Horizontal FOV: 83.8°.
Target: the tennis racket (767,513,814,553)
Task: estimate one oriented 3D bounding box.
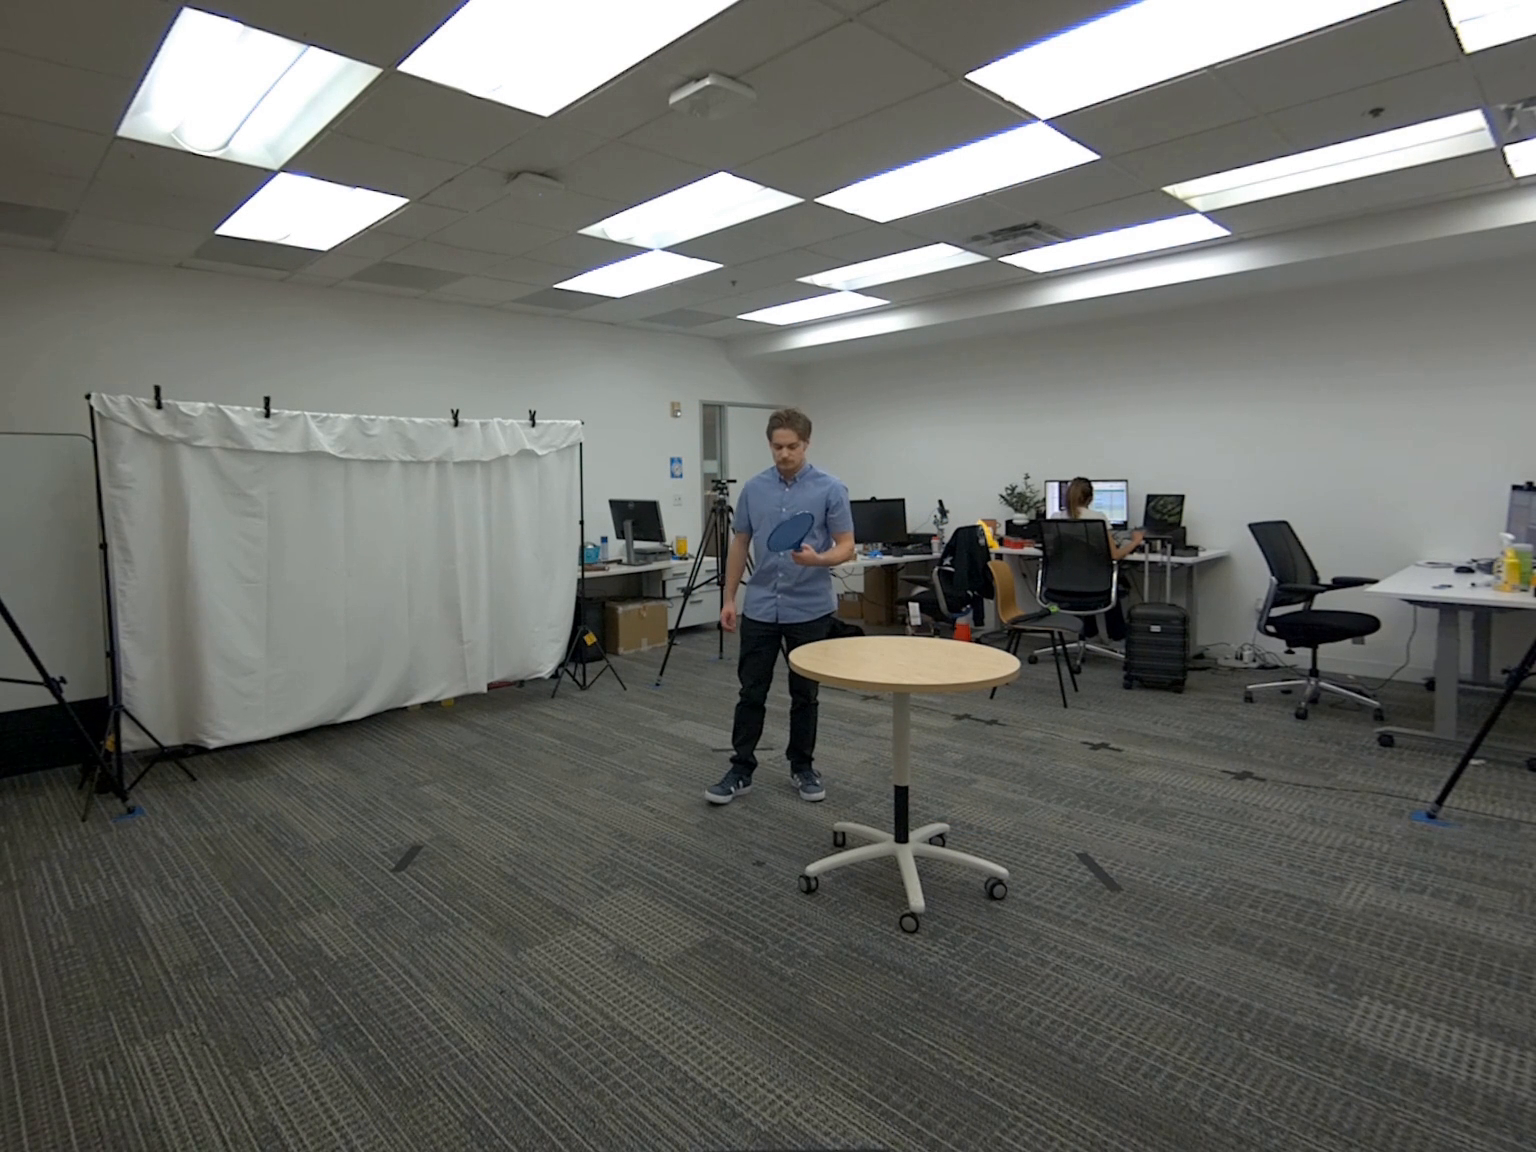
[{"bbox_3d":[0.102,-0.139,3.314,0.213,0.032,0.421,-39,-20,-2],"label":"tennis racket"}]
